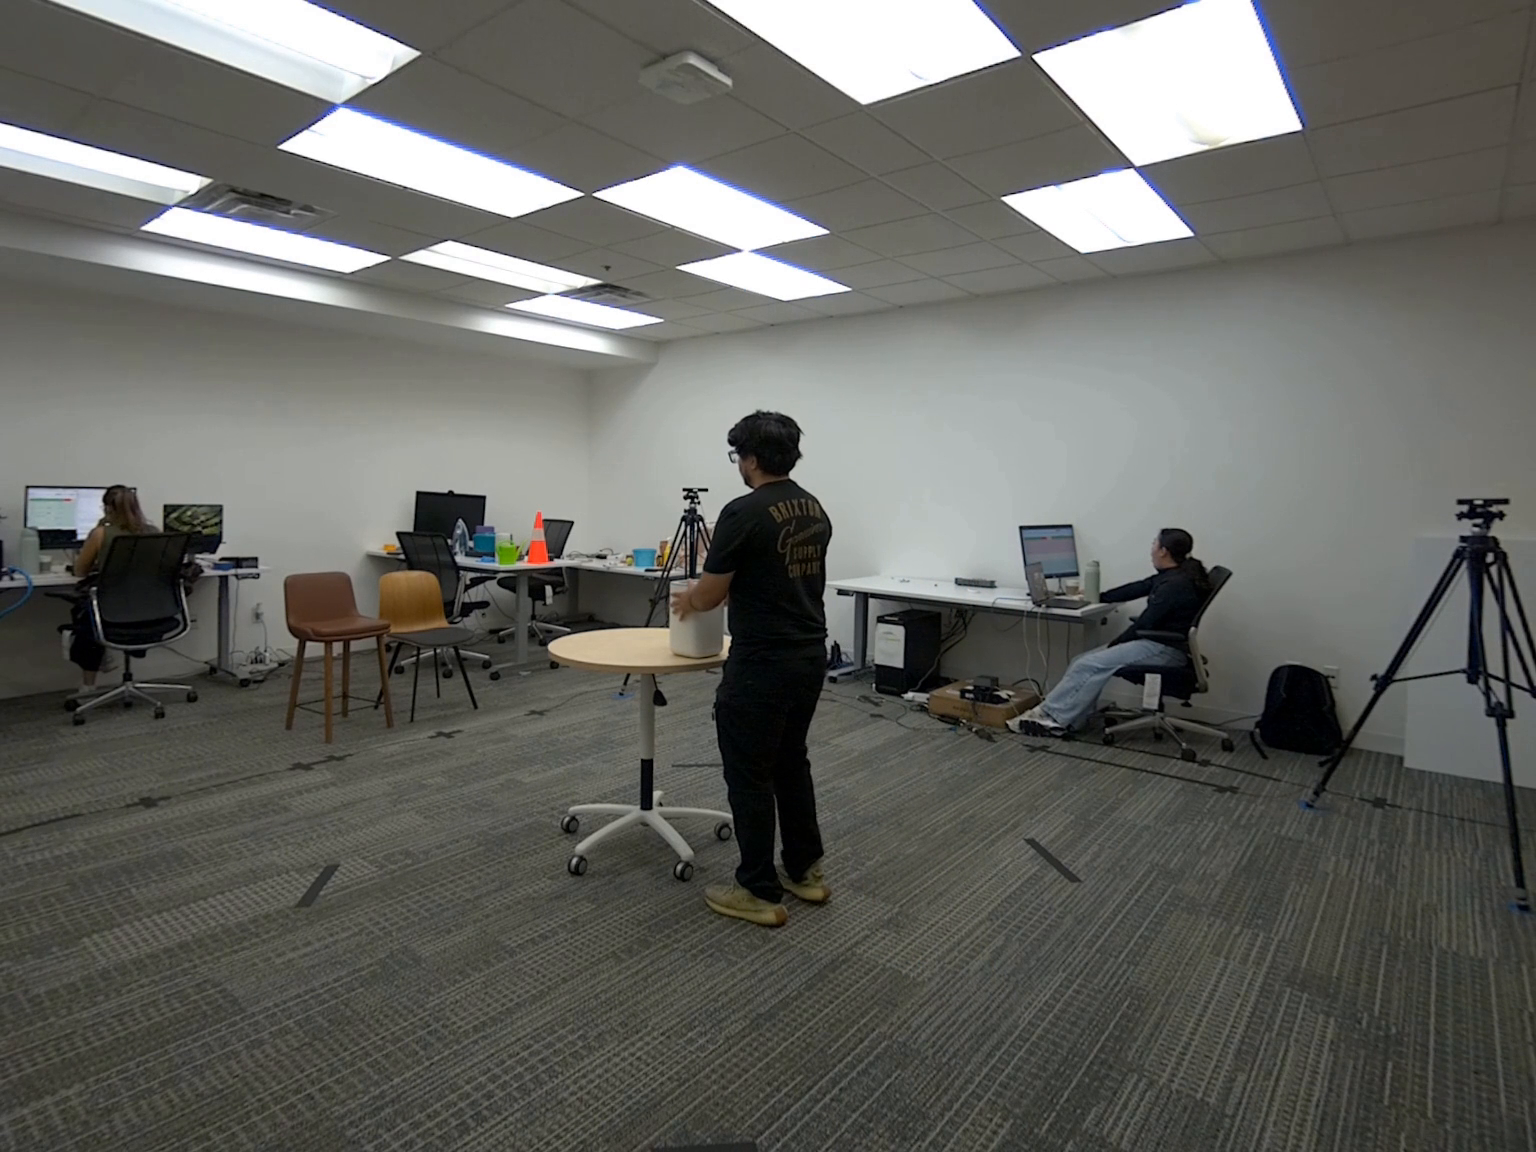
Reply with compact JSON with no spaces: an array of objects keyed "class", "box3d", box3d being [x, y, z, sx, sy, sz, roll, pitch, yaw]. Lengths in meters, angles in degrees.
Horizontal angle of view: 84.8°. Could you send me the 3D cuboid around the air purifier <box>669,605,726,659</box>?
[{"class":"air purifier","box3d":[-0.268,0.151,3.117,0.177,0.264,0.166,4,4,38]}]
